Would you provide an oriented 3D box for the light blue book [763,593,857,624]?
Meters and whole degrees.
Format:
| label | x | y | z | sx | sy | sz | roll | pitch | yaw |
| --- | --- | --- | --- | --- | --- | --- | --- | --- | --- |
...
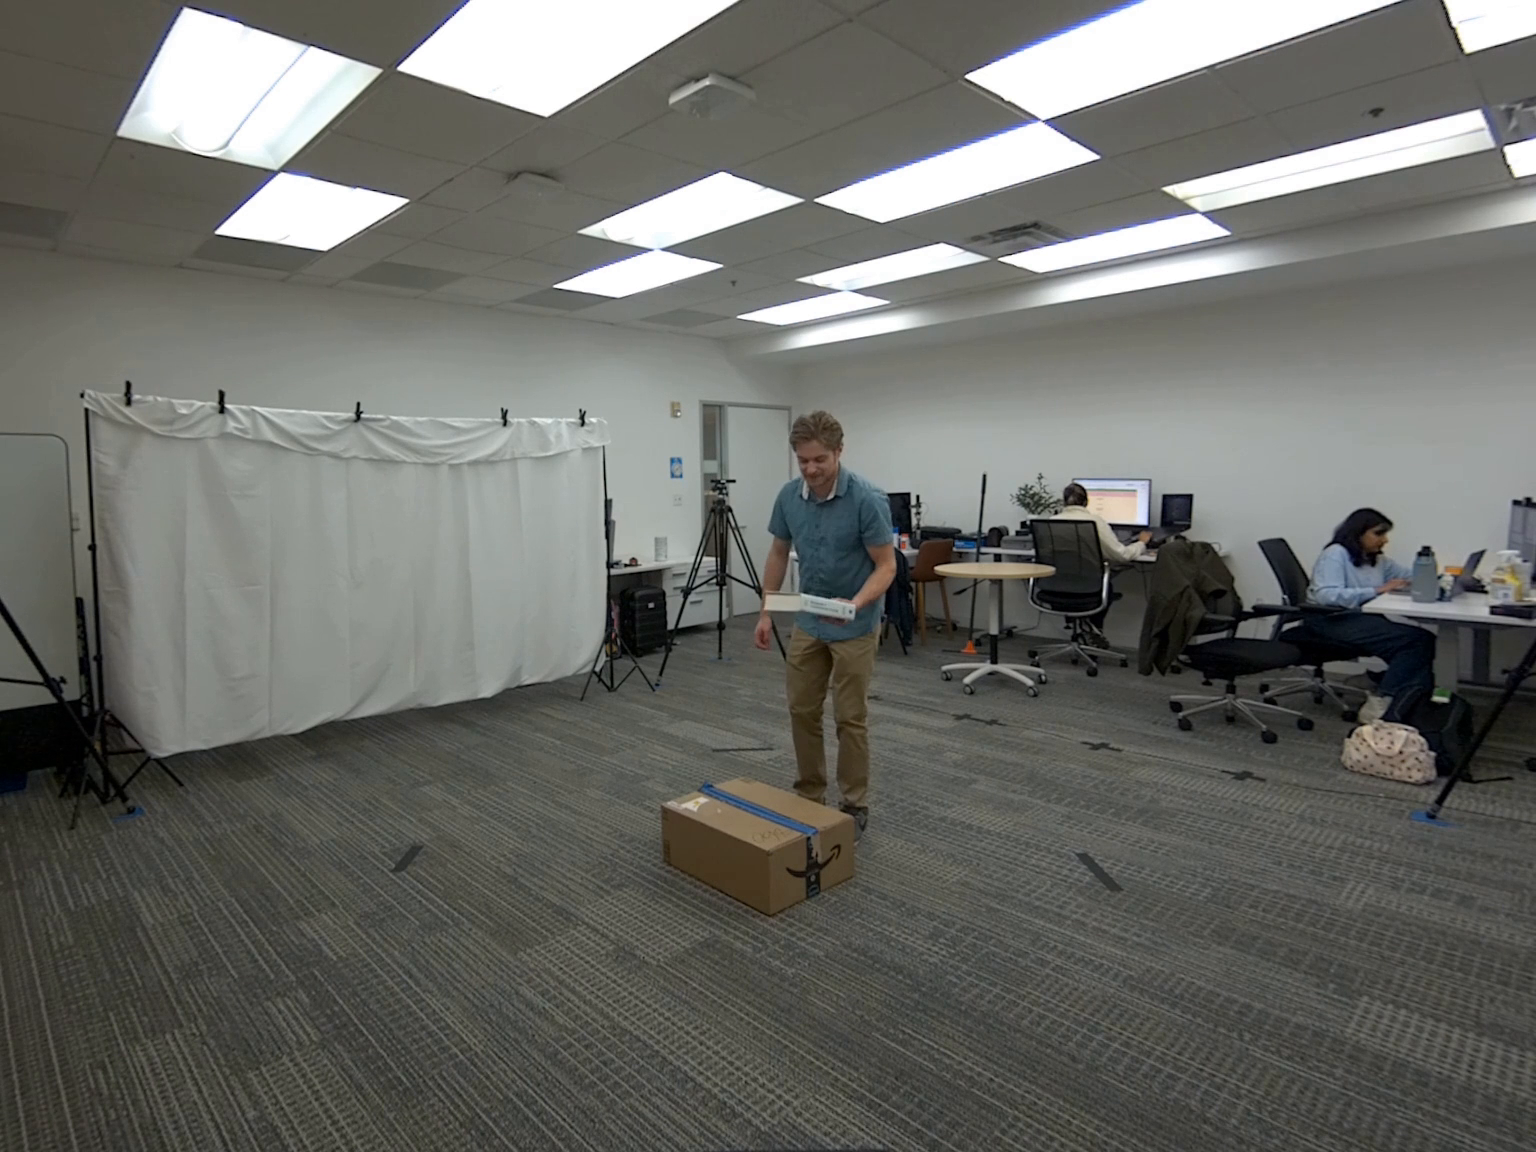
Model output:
| label | x | y | z | sx | sy | sz | roll | pitch | yaw |
| --- | --- | --- | --- | --- | --- | --- | --- | --- | --- |
| light blue book | 0.146 | 0.116 | 2.951 | 0.252 | 0.059 | 0.197 | 11 | -8 | -39 |
